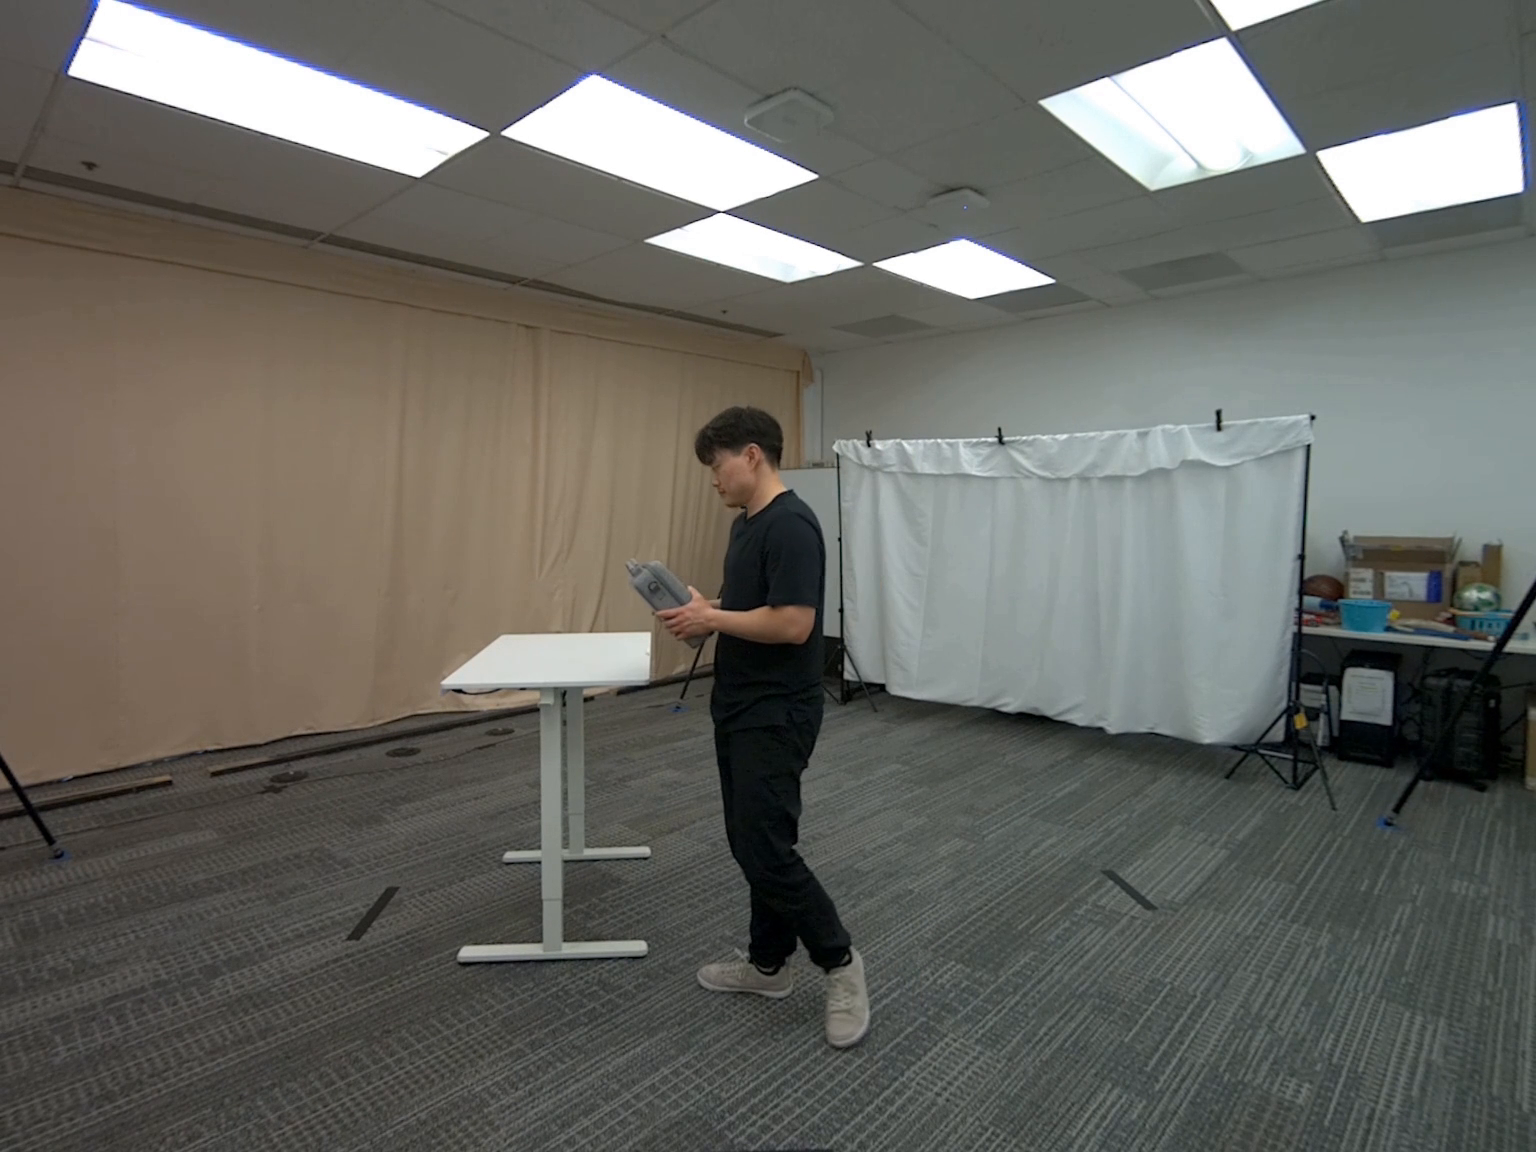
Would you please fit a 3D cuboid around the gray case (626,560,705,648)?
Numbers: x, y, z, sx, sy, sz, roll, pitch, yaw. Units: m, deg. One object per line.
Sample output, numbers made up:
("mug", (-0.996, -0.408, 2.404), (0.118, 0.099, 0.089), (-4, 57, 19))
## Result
("gray case", (-0.256, 0.075, 2.348), (0.104, 0.260, 0.258), (-44, 3, -6))
